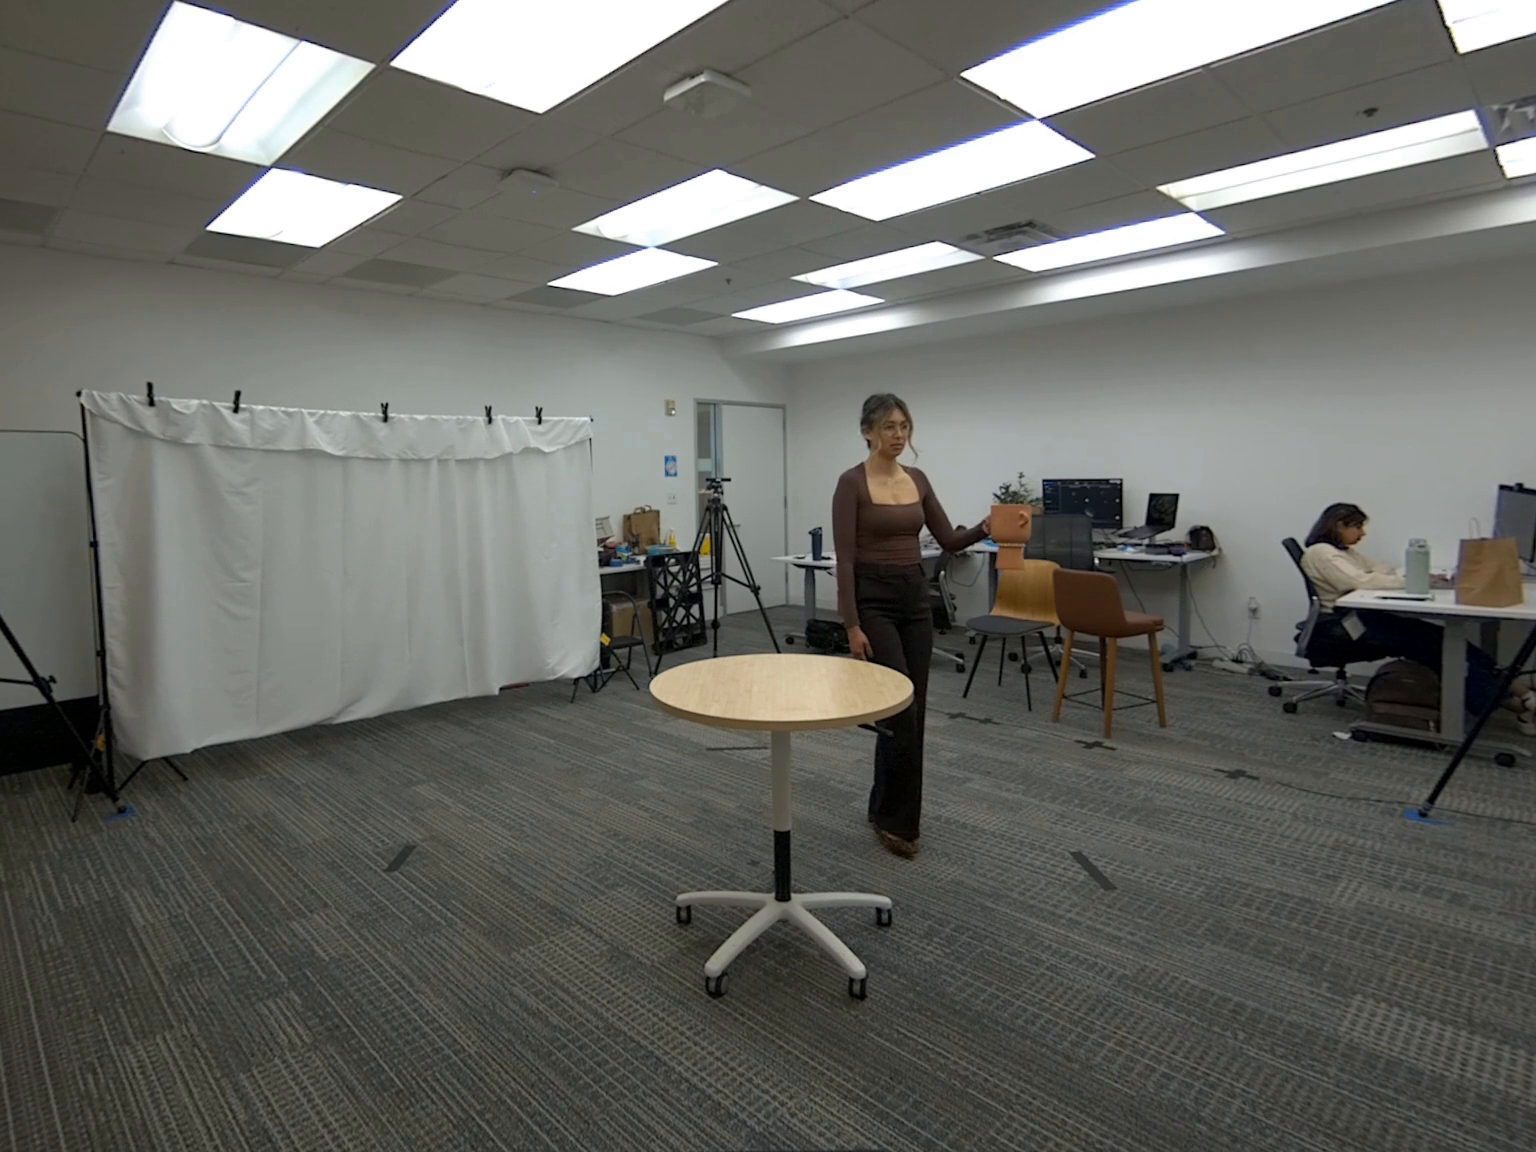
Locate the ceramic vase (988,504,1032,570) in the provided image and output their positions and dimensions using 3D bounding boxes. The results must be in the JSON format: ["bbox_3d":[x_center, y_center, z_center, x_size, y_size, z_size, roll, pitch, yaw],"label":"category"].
[{"bbox_3d":[0.846,-0.136,2.961,0.138,0.219,0.155,2,2,24],"label":"ceramic vase"}]
